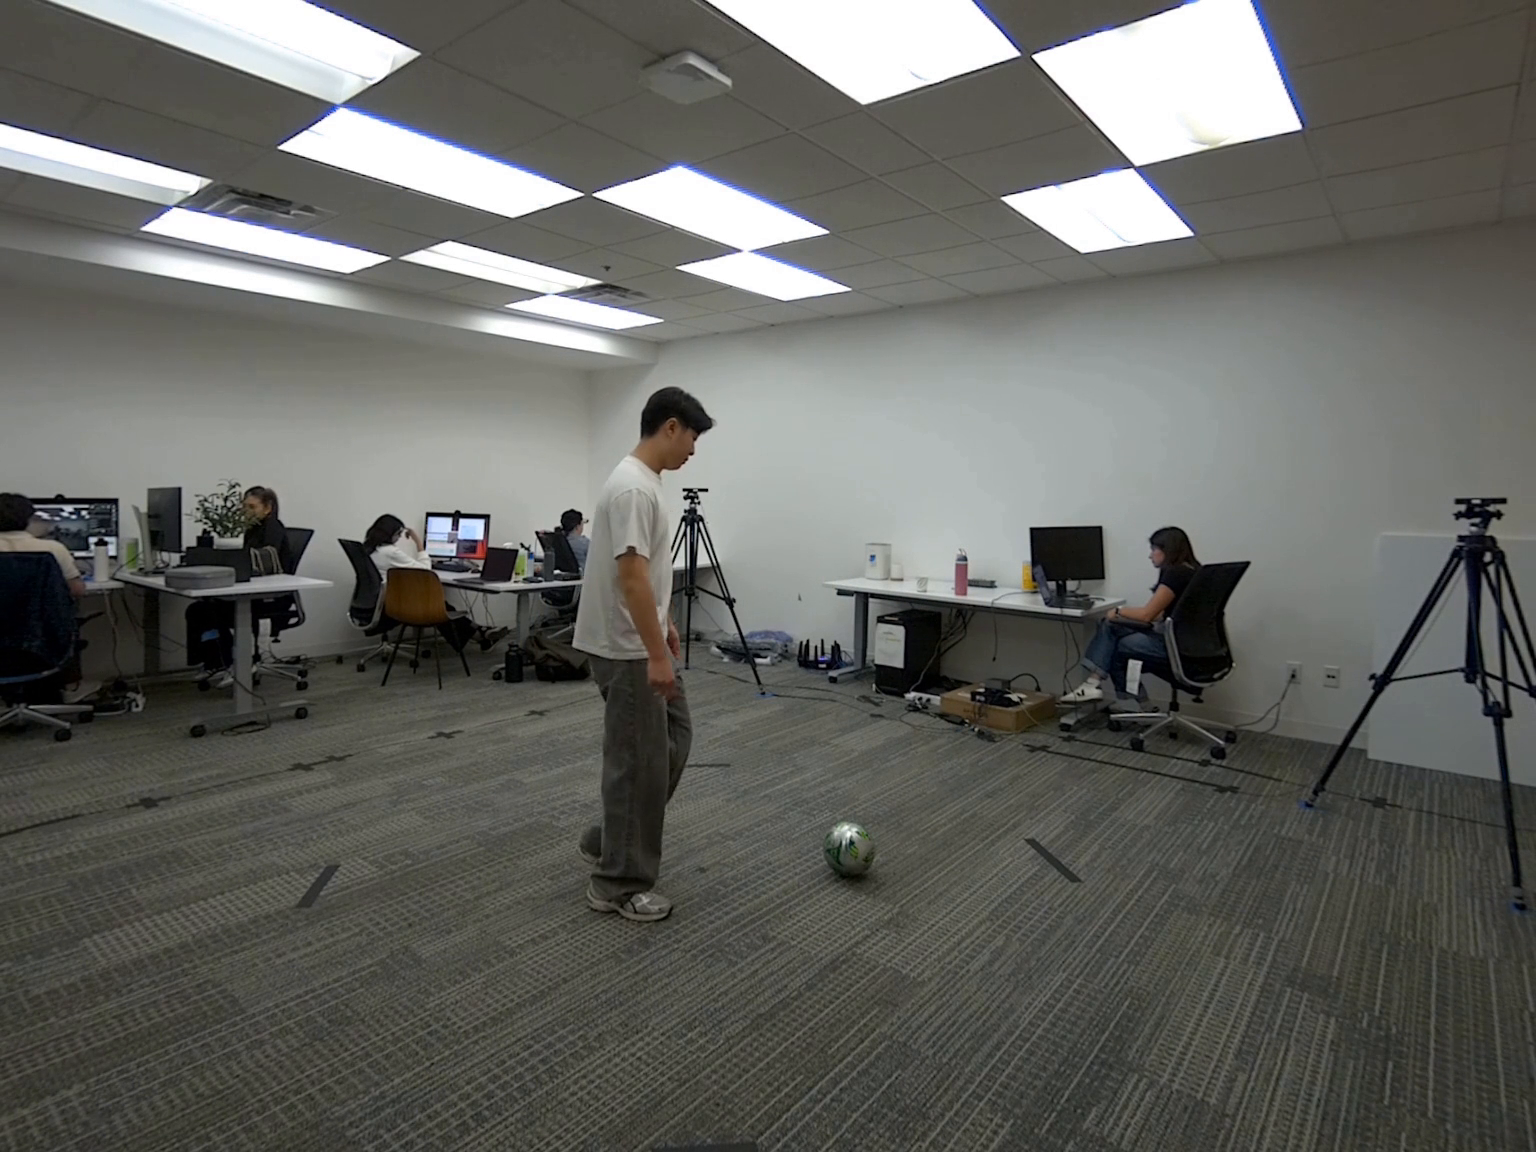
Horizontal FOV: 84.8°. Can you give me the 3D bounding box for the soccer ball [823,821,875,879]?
[{"bbox_3d":[0.298,0.991,3.092,0.187,0.187,0.188,1,4,-2],"label":"soccer ball"}]
